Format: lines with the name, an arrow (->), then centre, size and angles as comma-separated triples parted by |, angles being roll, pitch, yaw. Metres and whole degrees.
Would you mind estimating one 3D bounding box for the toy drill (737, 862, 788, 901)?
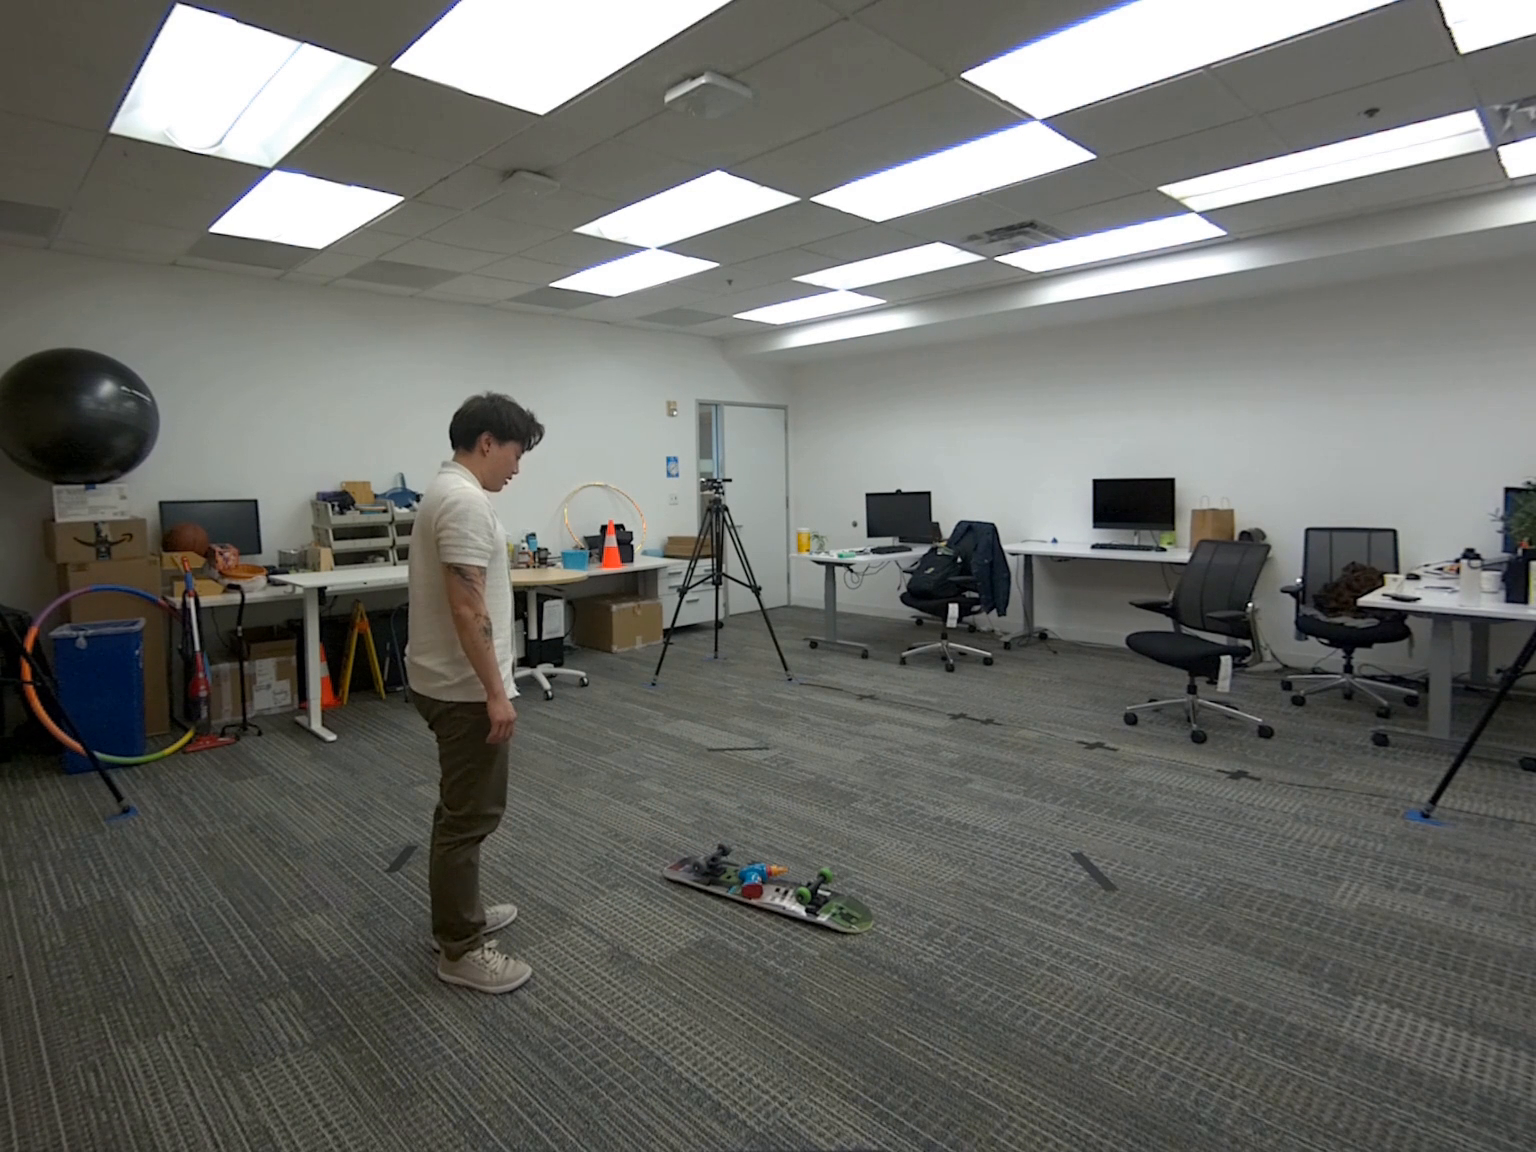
toy drill -> -0.018, 1.013, 2.851 | 0.170, 0.061, 0.147 | -8, 7, 2
